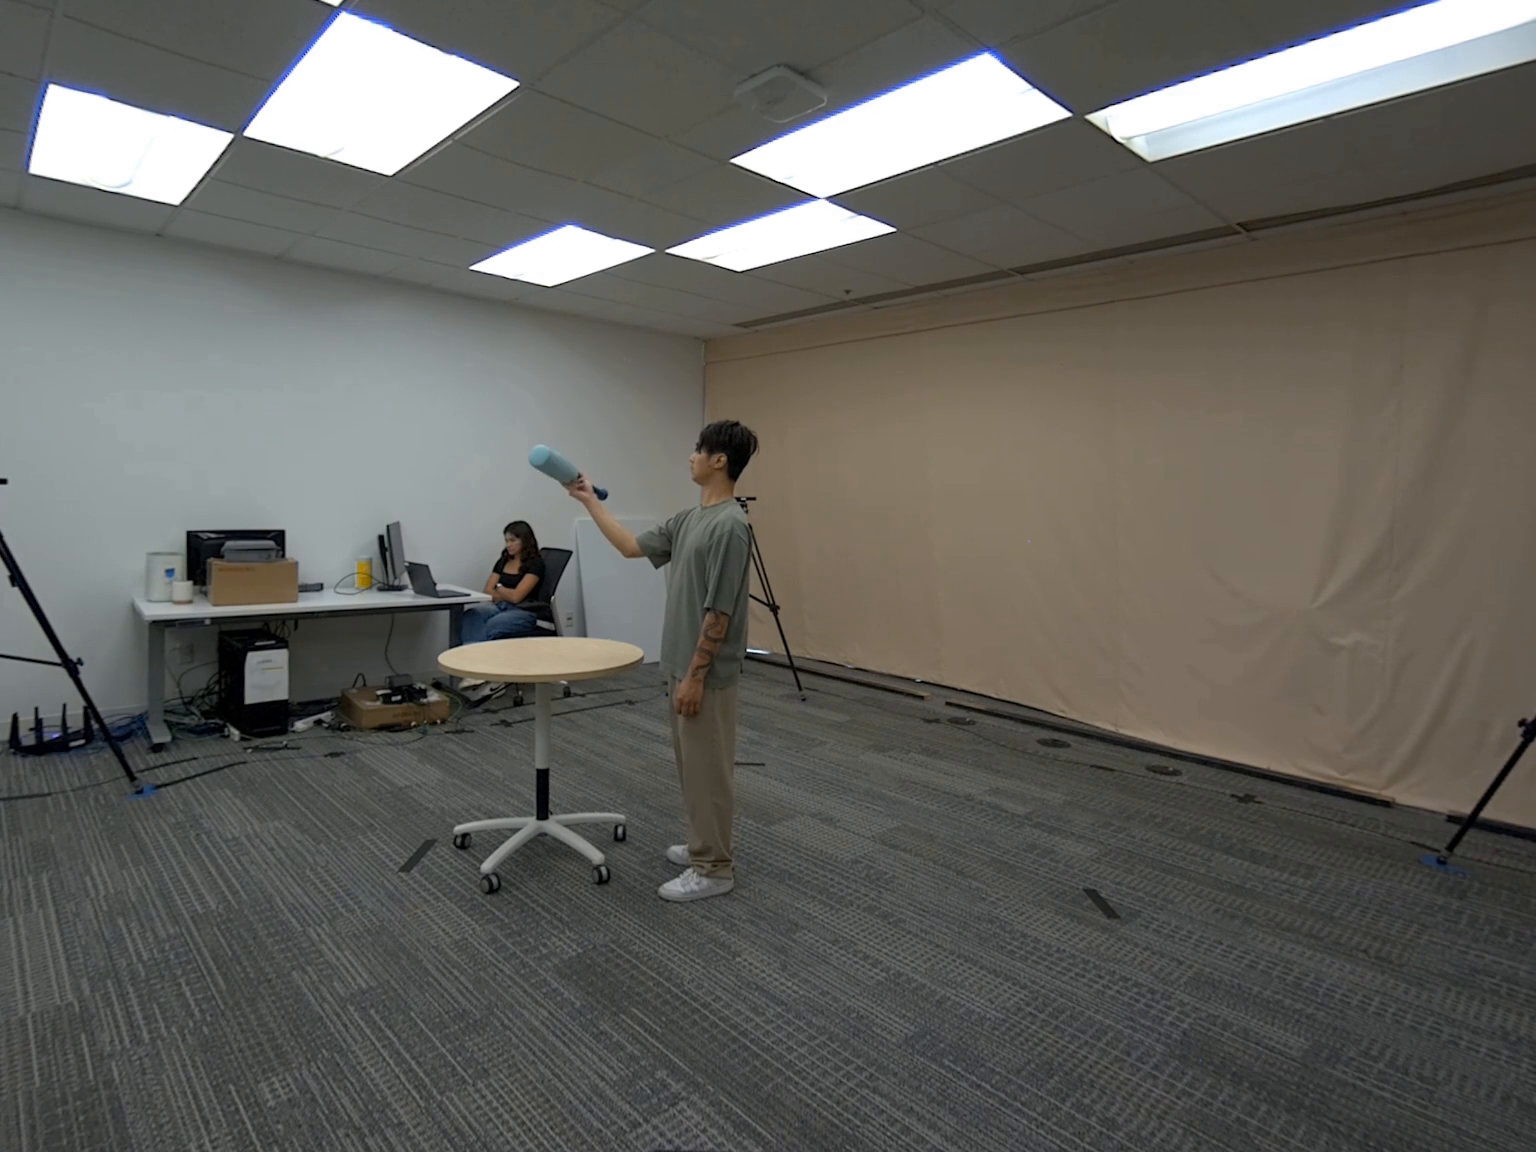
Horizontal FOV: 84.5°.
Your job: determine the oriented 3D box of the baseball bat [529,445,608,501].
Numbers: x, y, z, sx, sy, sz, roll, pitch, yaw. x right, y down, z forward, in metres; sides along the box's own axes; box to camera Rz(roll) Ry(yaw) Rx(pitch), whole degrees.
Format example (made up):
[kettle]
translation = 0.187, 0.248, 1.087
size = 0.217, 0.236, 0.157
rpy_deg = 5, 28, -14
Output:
[baseball bat]
translation = -0.748, -0.376, 3.206
size = 0.090, 0.089, 0.532
rpy_deg = 3, -9, 16
